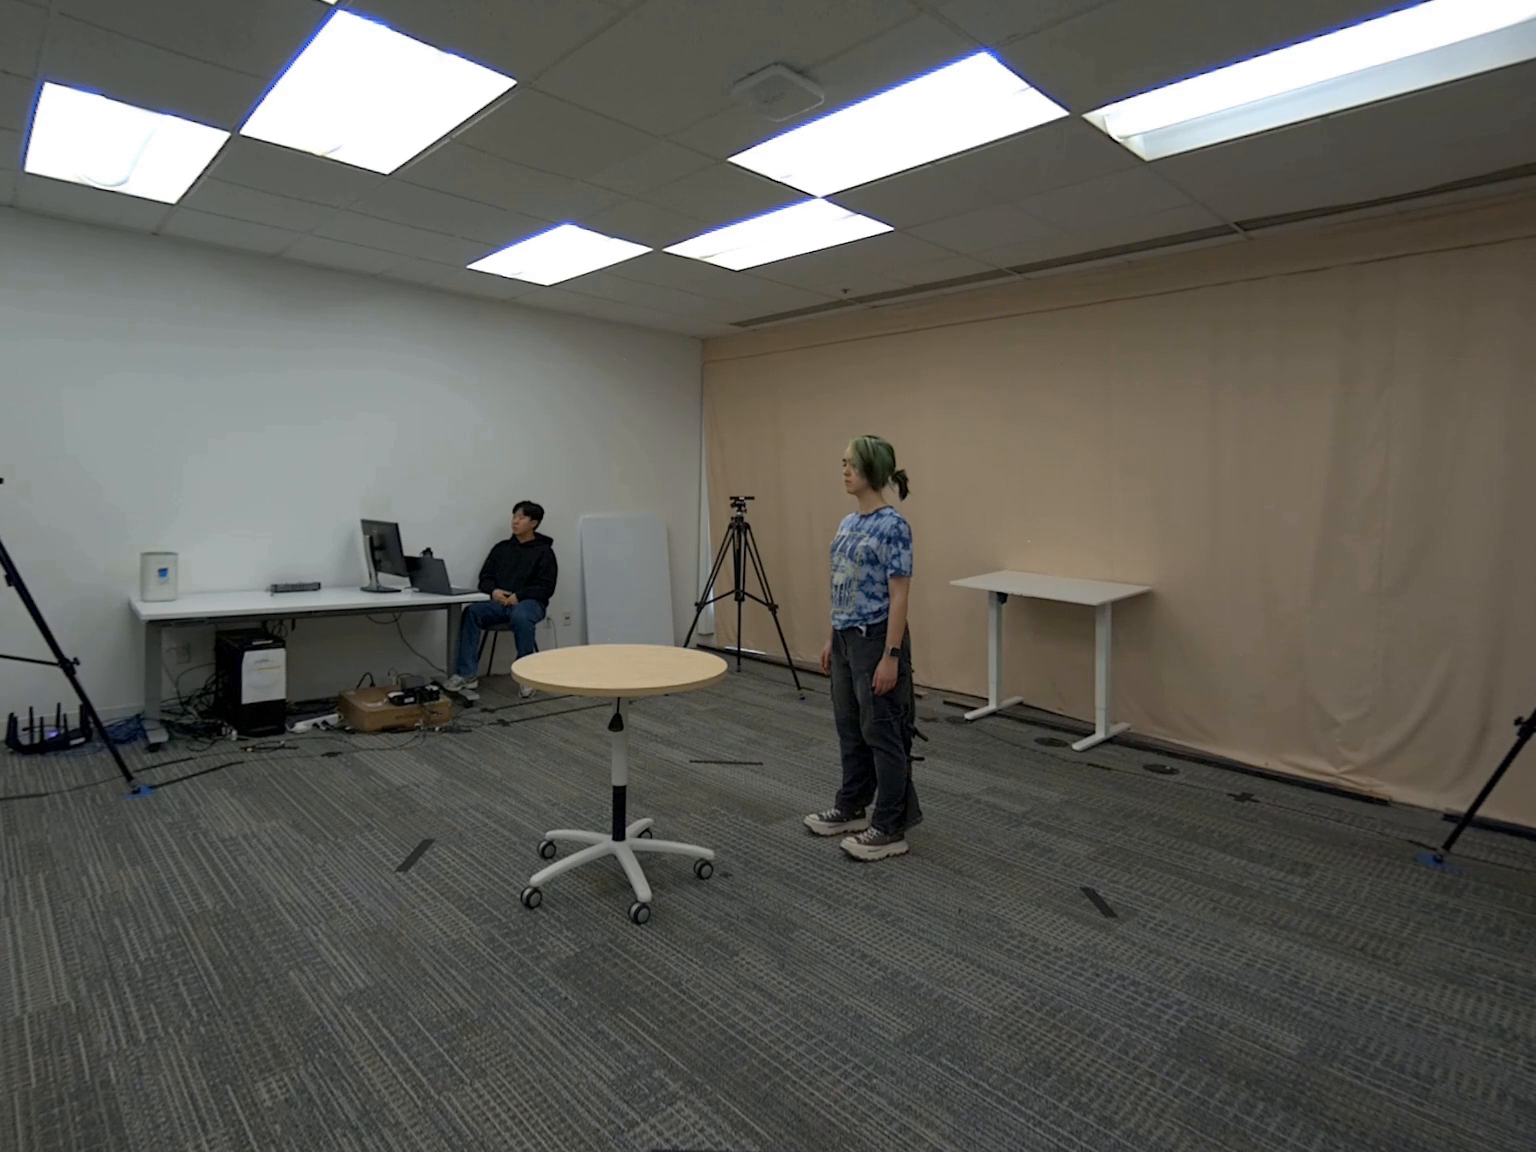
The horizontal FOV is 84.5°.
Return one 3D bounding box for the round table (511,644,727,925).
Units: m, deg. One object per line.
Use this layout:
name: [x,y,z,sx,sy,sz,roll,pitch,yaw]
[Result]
round table: [-0.544,0.713,3.040,0.763,0.792,0.767,1,4,-1]
